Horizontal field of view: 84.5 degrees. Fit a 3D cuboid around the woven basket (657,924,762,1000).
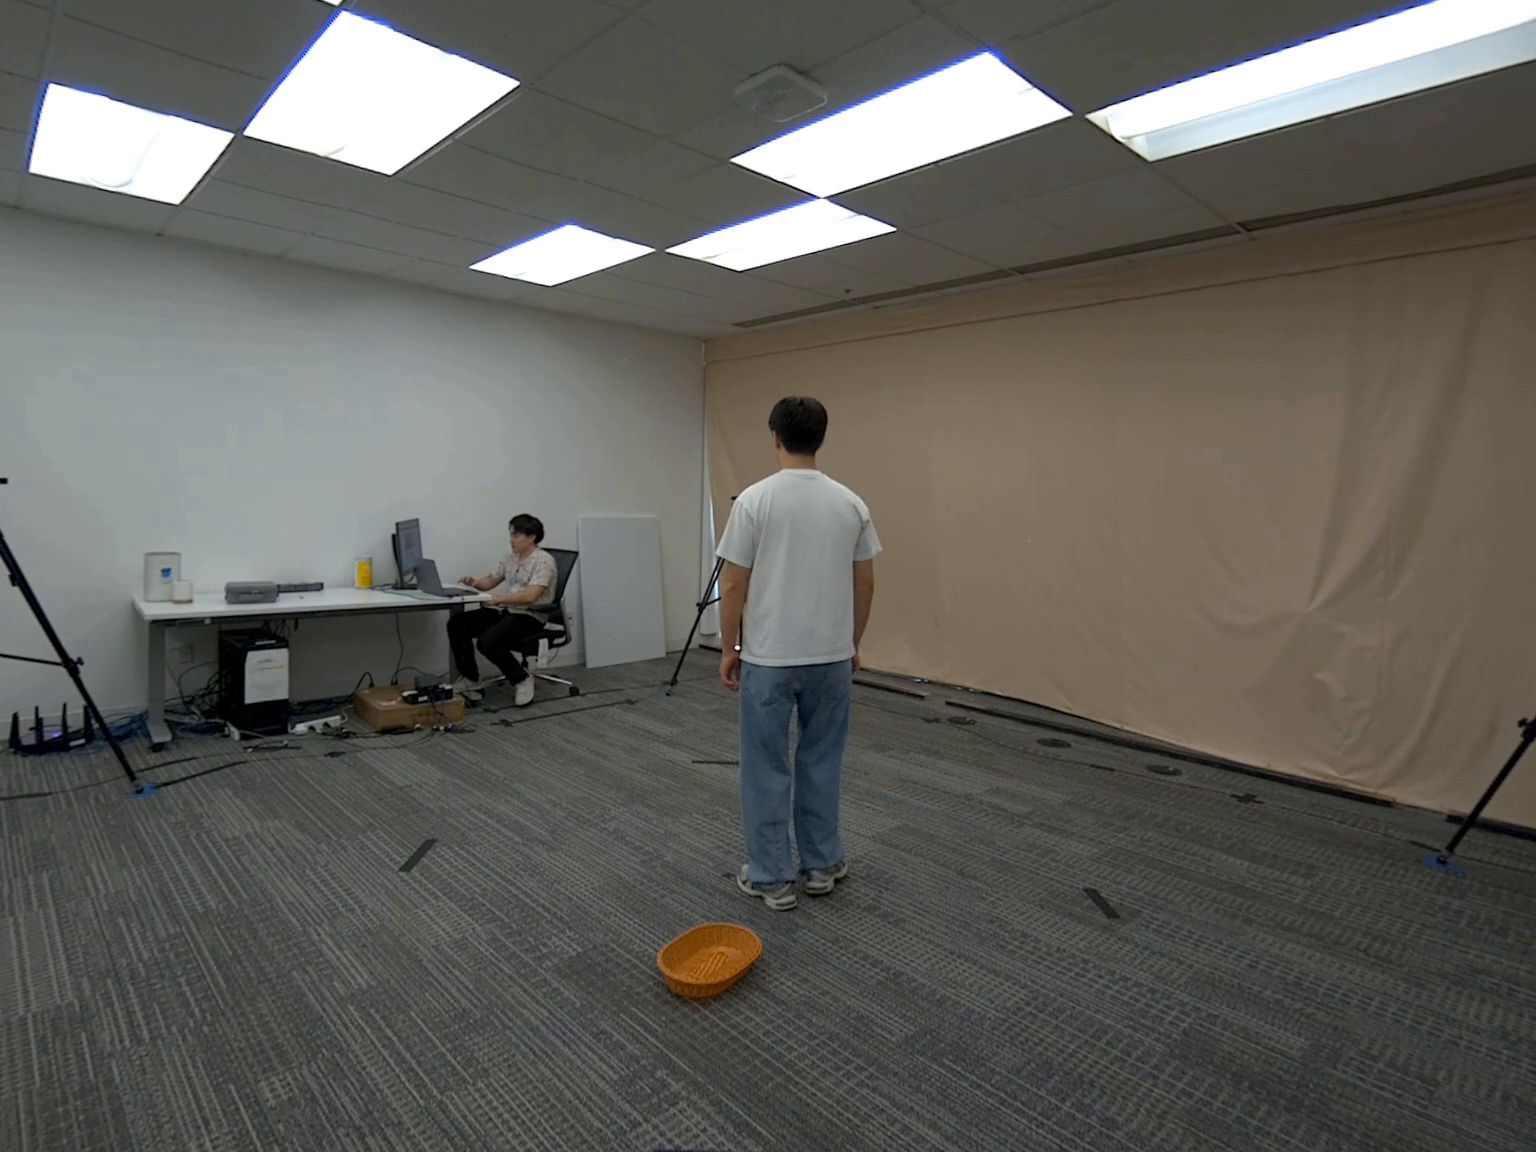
[{"bbox_3d":[-0.178,1.125,2.458,0.258,0.073,0.343,5,6,35],"label":"woven basket"}]
